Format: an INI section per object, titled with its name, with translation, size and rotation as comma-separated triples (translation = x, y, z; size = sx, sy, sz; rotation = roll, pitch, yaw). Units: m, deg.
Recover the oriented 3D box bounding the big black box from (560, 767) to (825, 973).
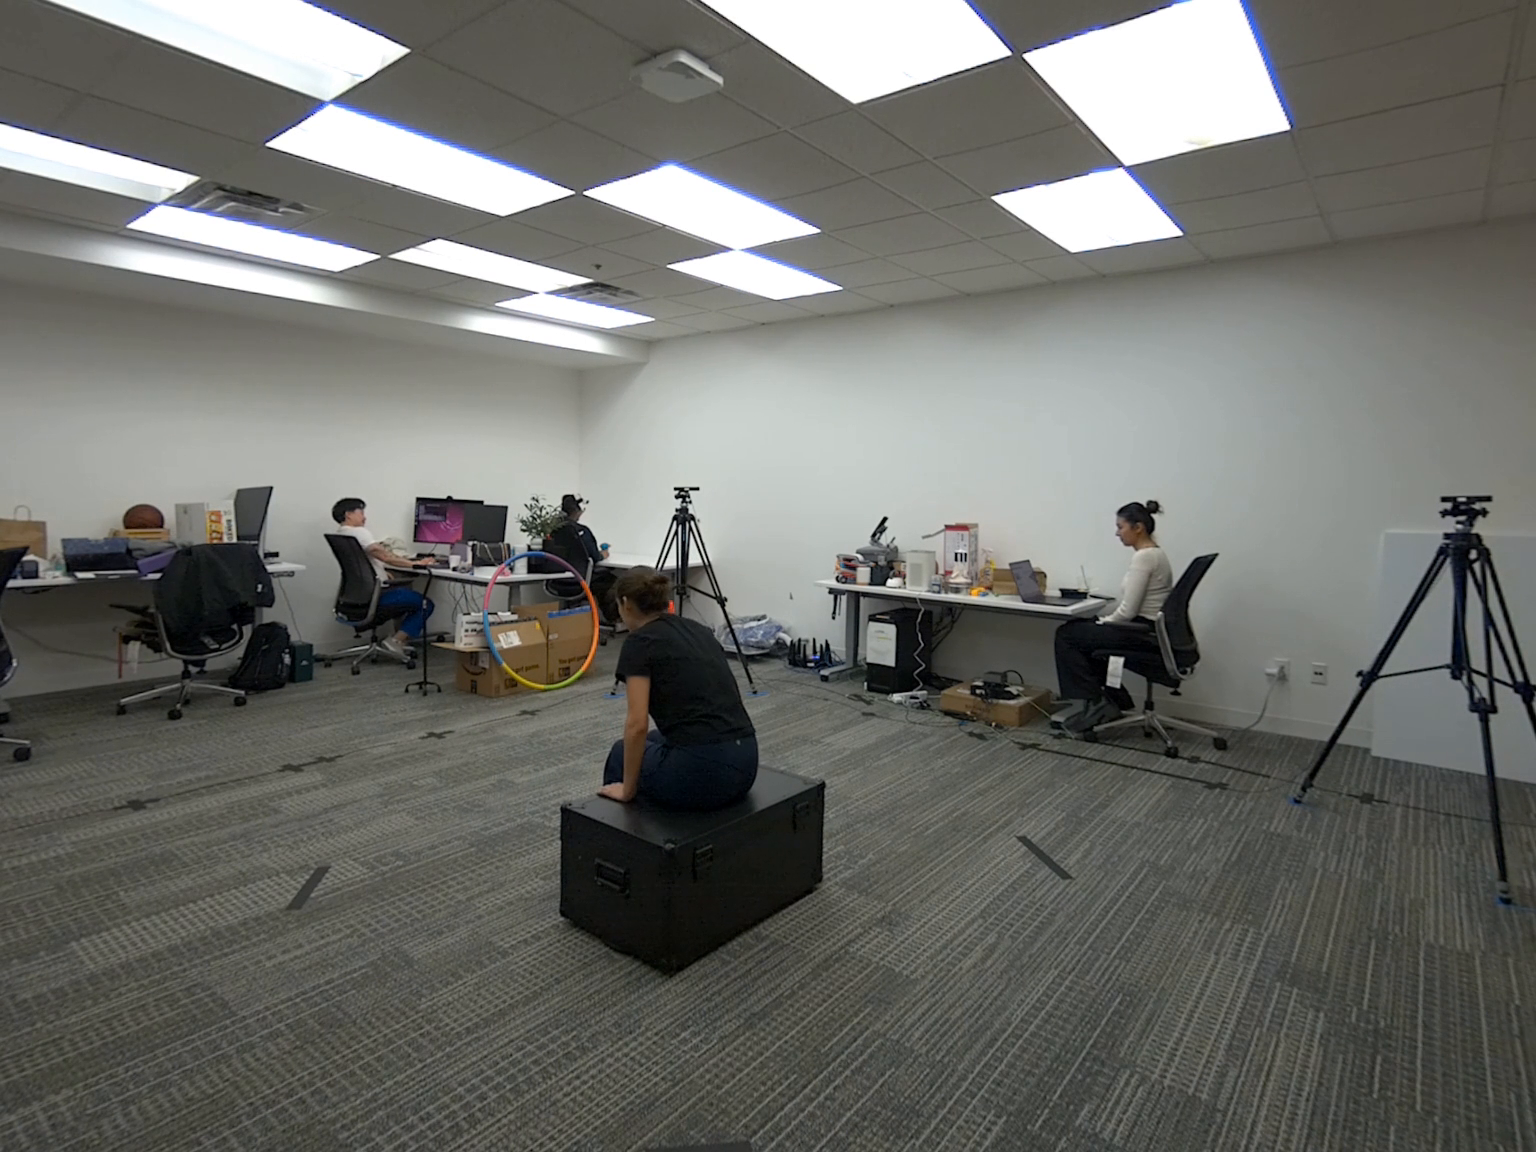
[big black box]
translation = -0.198, 0.903, 2.861
size = 0.539, 0.395, 0.837
rotation = 5, 7, 39
